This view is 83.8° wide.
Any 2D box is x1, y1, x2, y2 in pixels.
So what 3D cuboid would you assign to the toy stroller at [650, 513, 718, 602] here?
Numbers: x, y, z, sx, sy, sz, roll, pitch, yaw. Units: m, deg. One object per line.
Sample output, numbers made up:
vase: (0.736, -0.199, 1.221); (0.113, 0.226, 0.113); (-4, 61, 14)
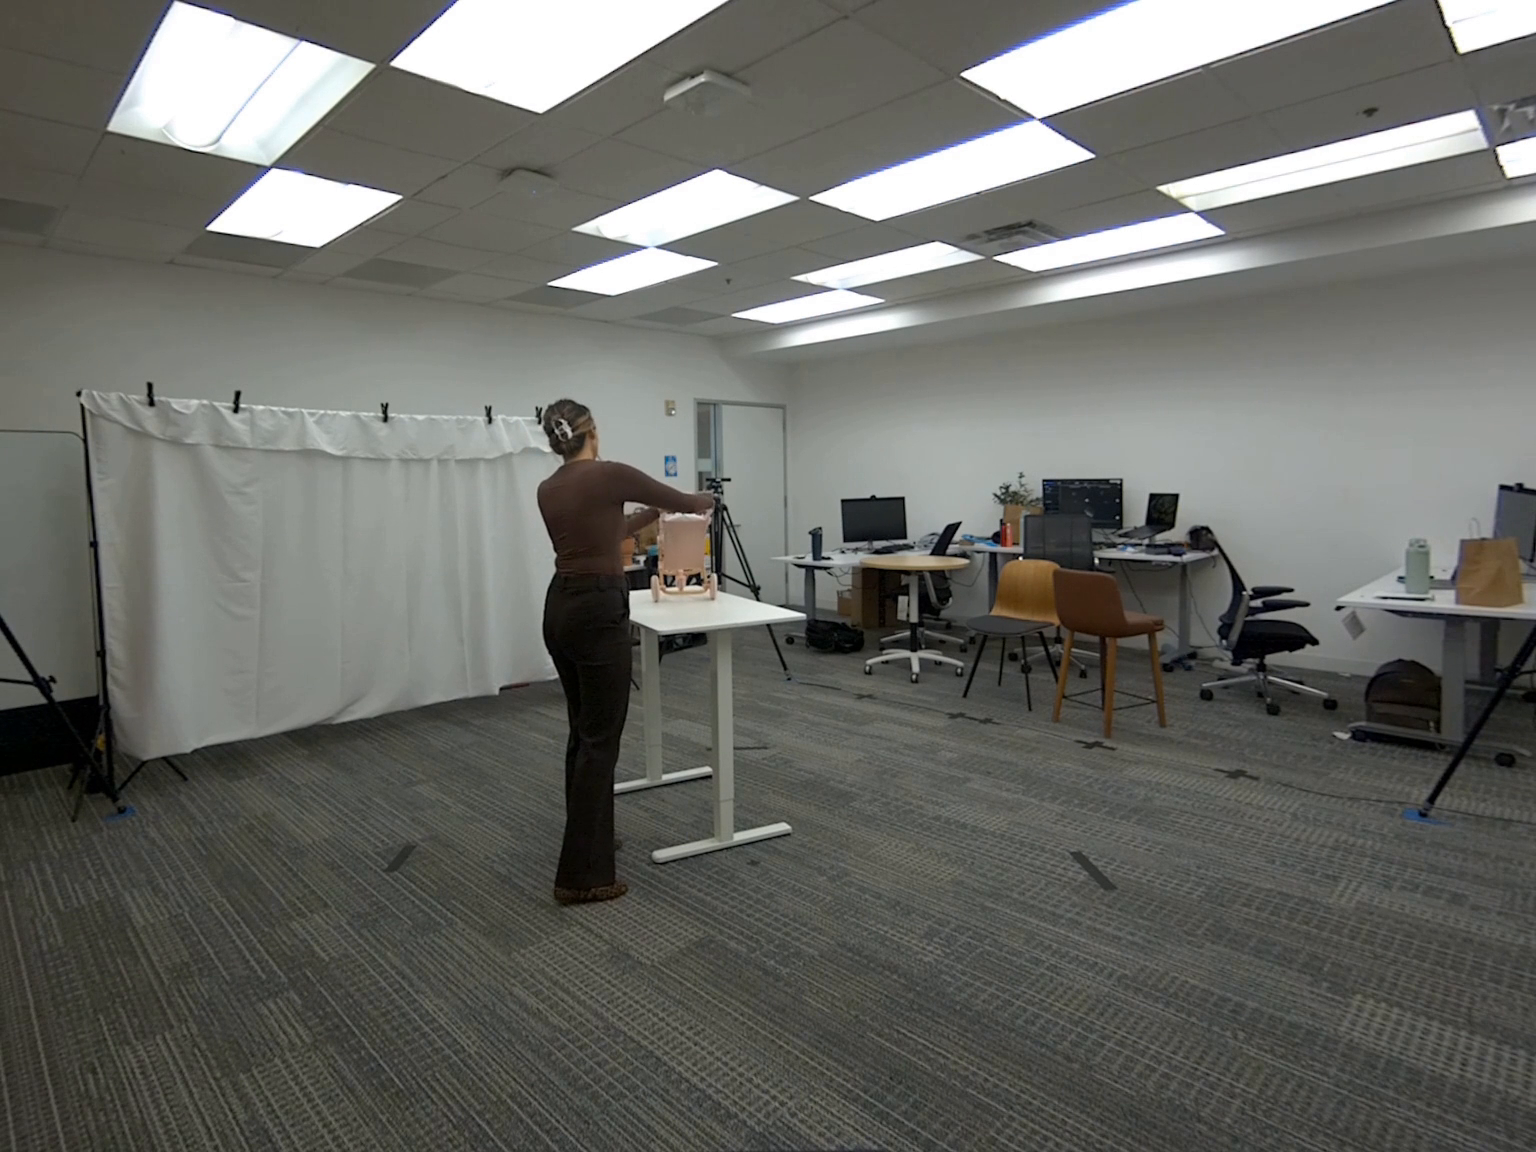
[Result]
toy stroller: (-0.363, -0.121, 3.685); (0.280, 0.526, 0.348); (0, 19, -6)
